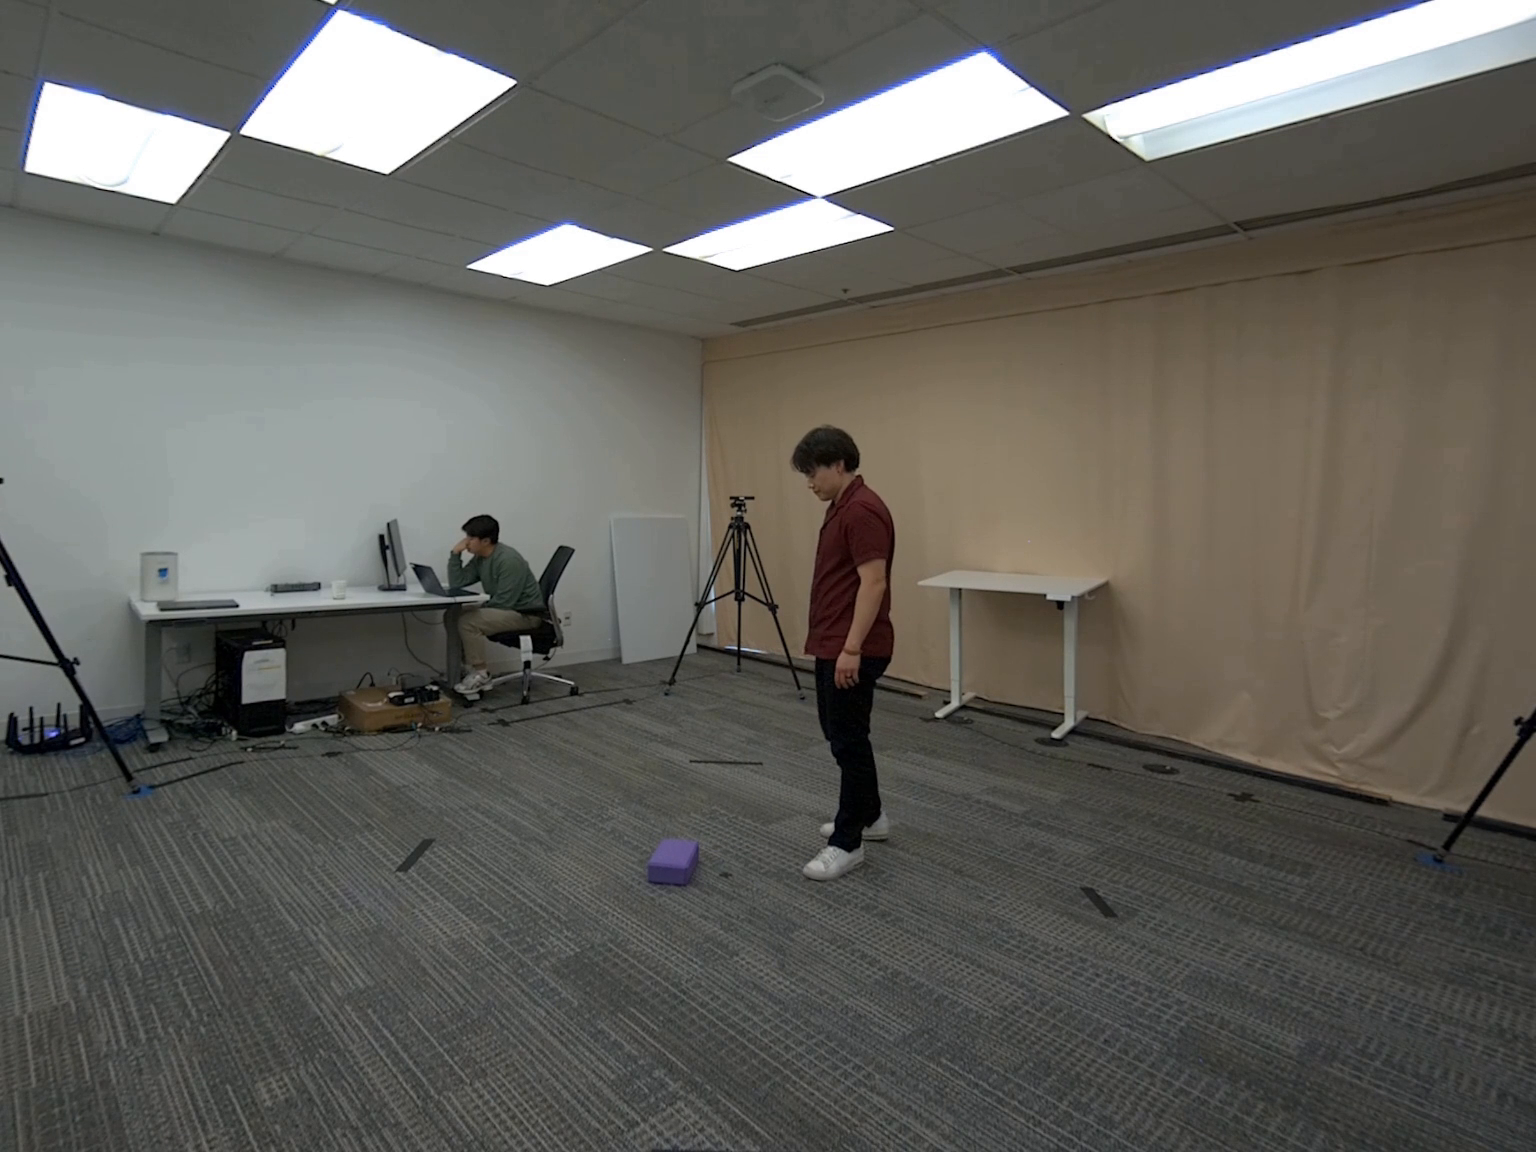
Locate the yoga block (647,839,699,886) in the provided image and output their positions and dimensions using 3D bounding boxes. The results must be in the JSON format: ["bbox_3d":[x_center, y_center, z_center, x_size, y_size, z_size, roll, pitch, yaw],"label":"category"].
[{"bbox_3d":[-0.355,1.055,3.118,0.150,0.076,0.228,3,6,9],"label":"yoga block"}]
